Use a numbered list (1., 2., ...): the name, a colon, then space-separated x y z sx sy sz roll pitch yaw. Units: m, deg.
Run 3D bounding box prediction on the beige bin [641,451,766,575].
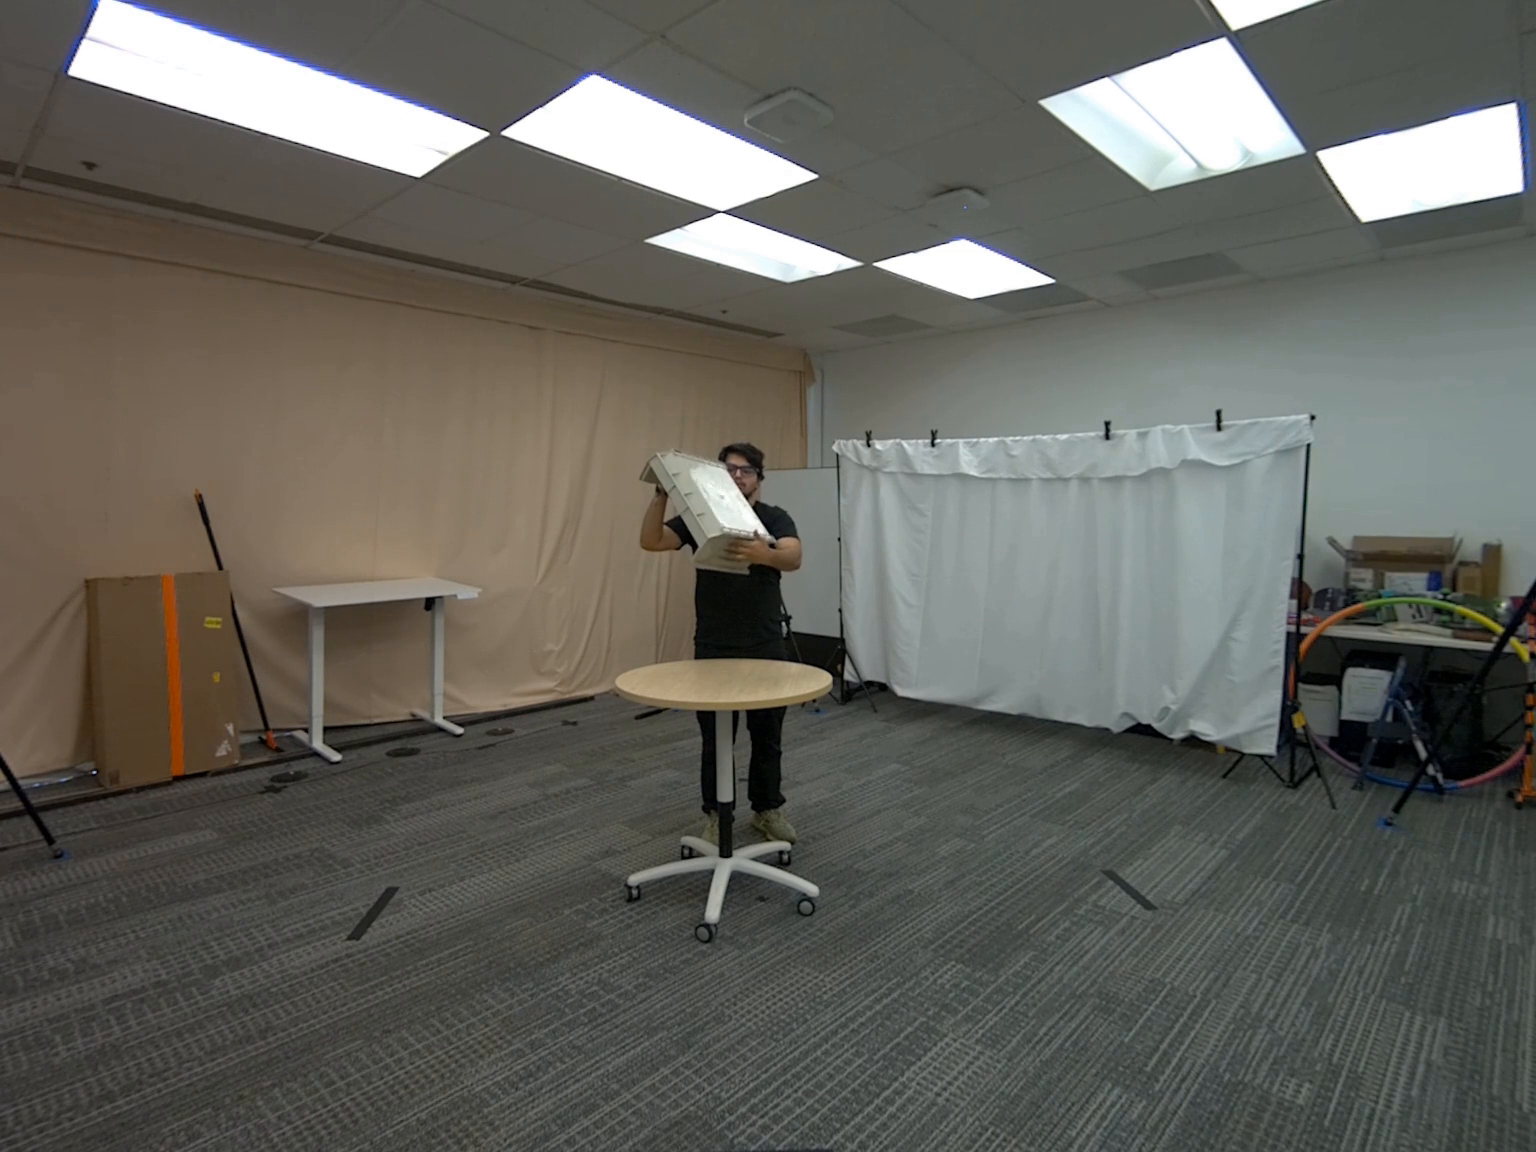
1. beige bin: -0.222 -0.232 3.083 0.190 0.434 0.365 -47 -29 24
